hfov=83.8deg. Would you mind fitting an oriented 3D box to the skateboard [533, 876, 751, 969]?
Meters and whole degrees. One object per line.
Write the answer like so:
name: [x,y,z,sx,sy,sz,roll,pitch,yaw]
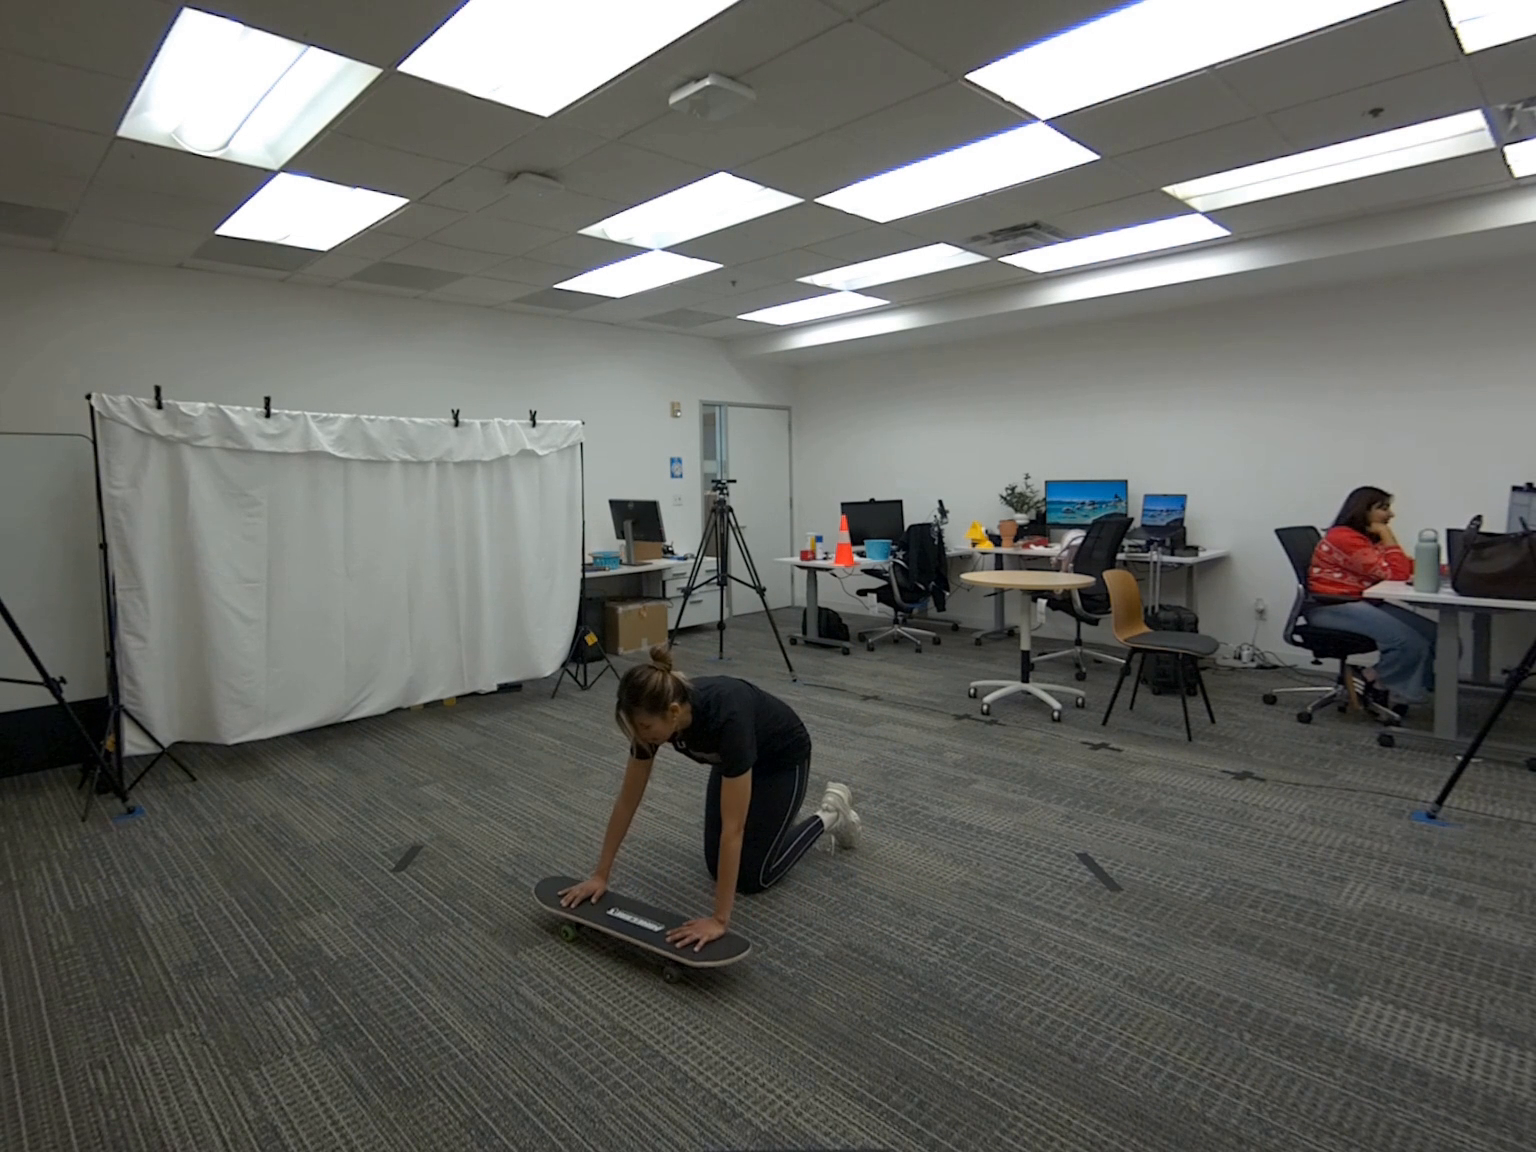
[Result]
skateboard: [-0.396,1.063,2.563,0.807,0.110,0.189,3,6,33]
